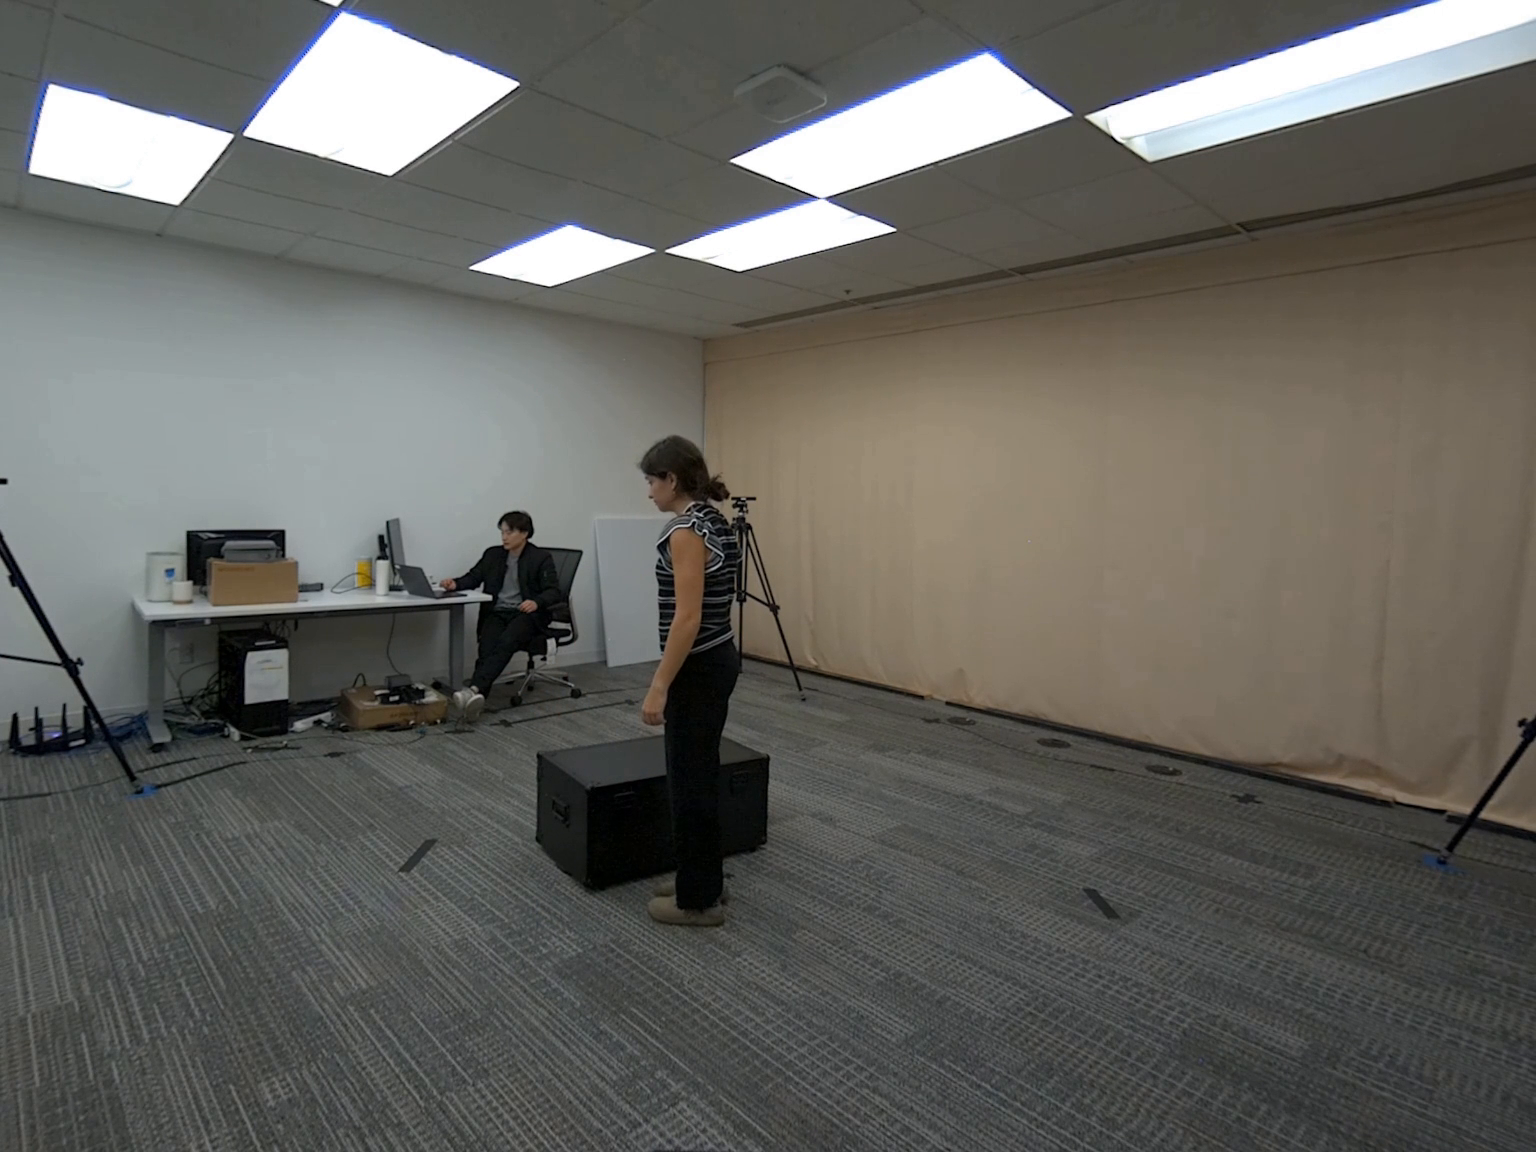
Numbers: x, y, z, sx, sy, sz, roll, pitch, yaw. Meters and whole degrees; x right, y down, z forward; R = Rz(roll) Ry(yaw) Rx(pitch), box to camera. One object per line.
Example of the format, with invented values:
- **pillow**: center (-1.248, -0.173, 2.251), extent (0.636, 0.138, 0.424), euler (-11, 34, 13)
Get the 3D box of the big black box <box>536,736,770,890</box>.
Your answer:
- **big black box**: center (-0.433, 0.890, 3.341), extent (0.843, 0.395, 0.534), euler (-2, 6, -35)
